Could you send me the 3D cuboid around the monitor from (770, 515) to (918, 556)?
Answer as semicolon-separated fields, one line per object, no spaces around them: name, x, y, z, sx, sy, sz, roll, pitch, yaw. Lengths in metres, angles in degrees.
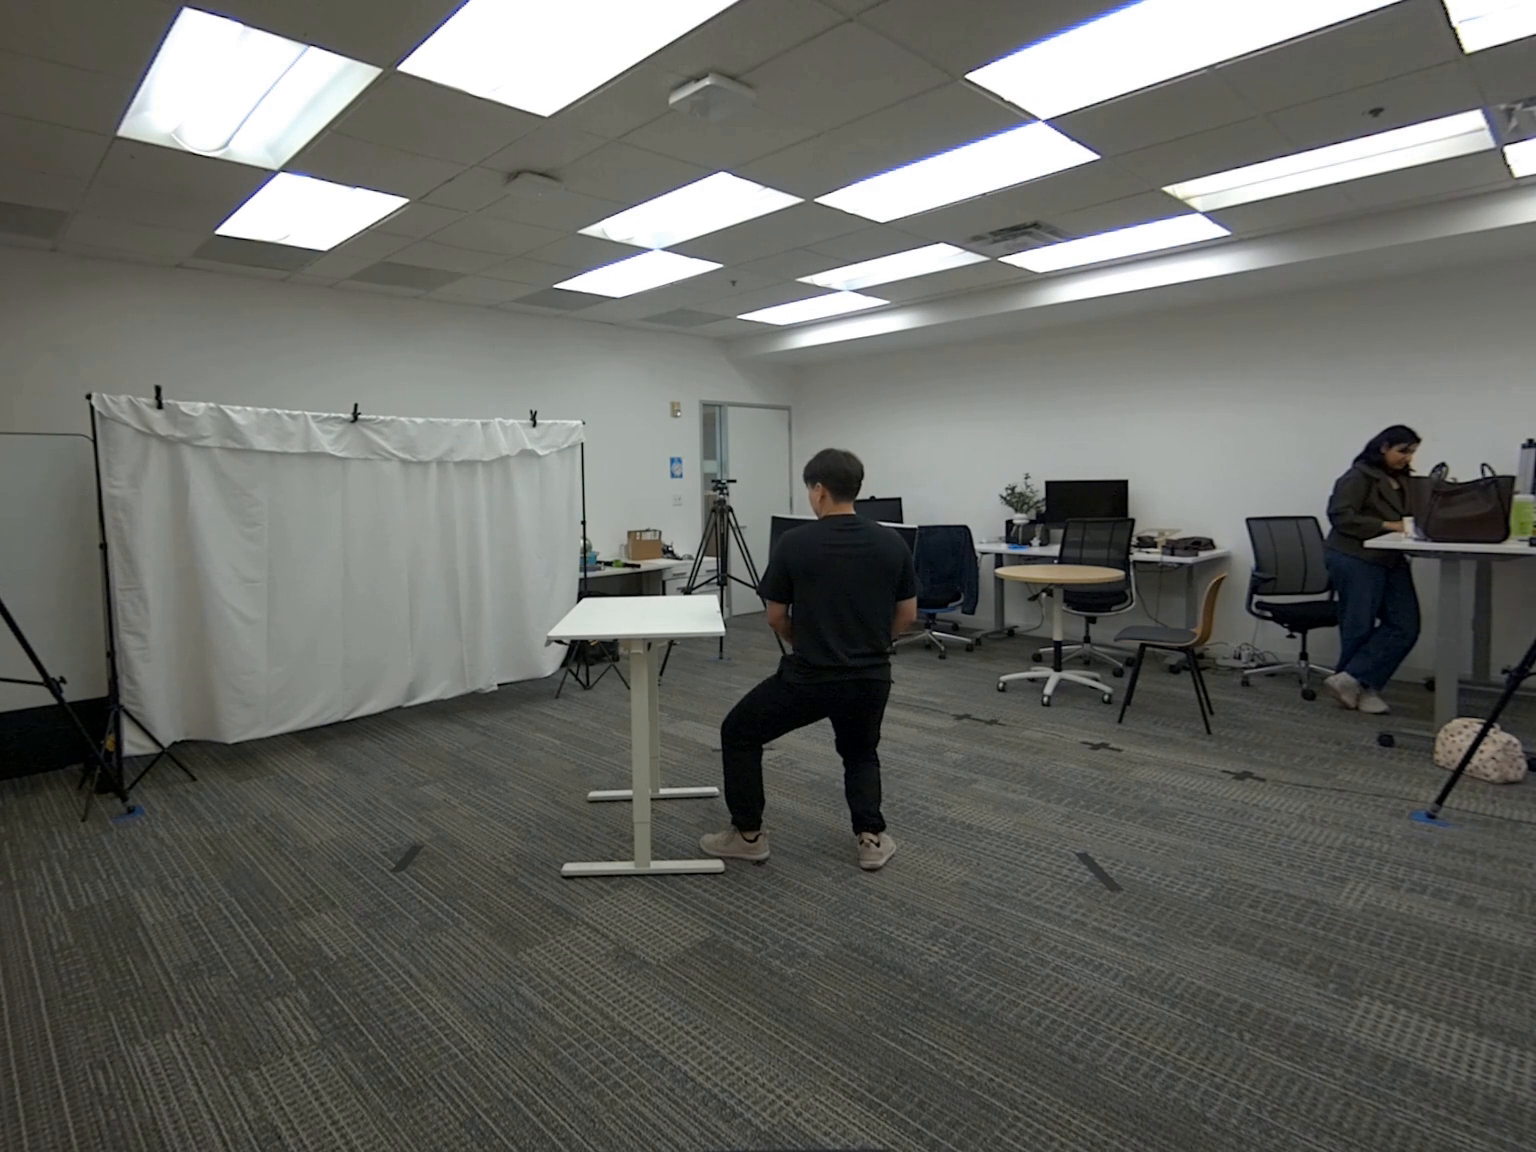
monitor;0.274;0.048;3.291;0.541;0.519;0.187;5;7;3
